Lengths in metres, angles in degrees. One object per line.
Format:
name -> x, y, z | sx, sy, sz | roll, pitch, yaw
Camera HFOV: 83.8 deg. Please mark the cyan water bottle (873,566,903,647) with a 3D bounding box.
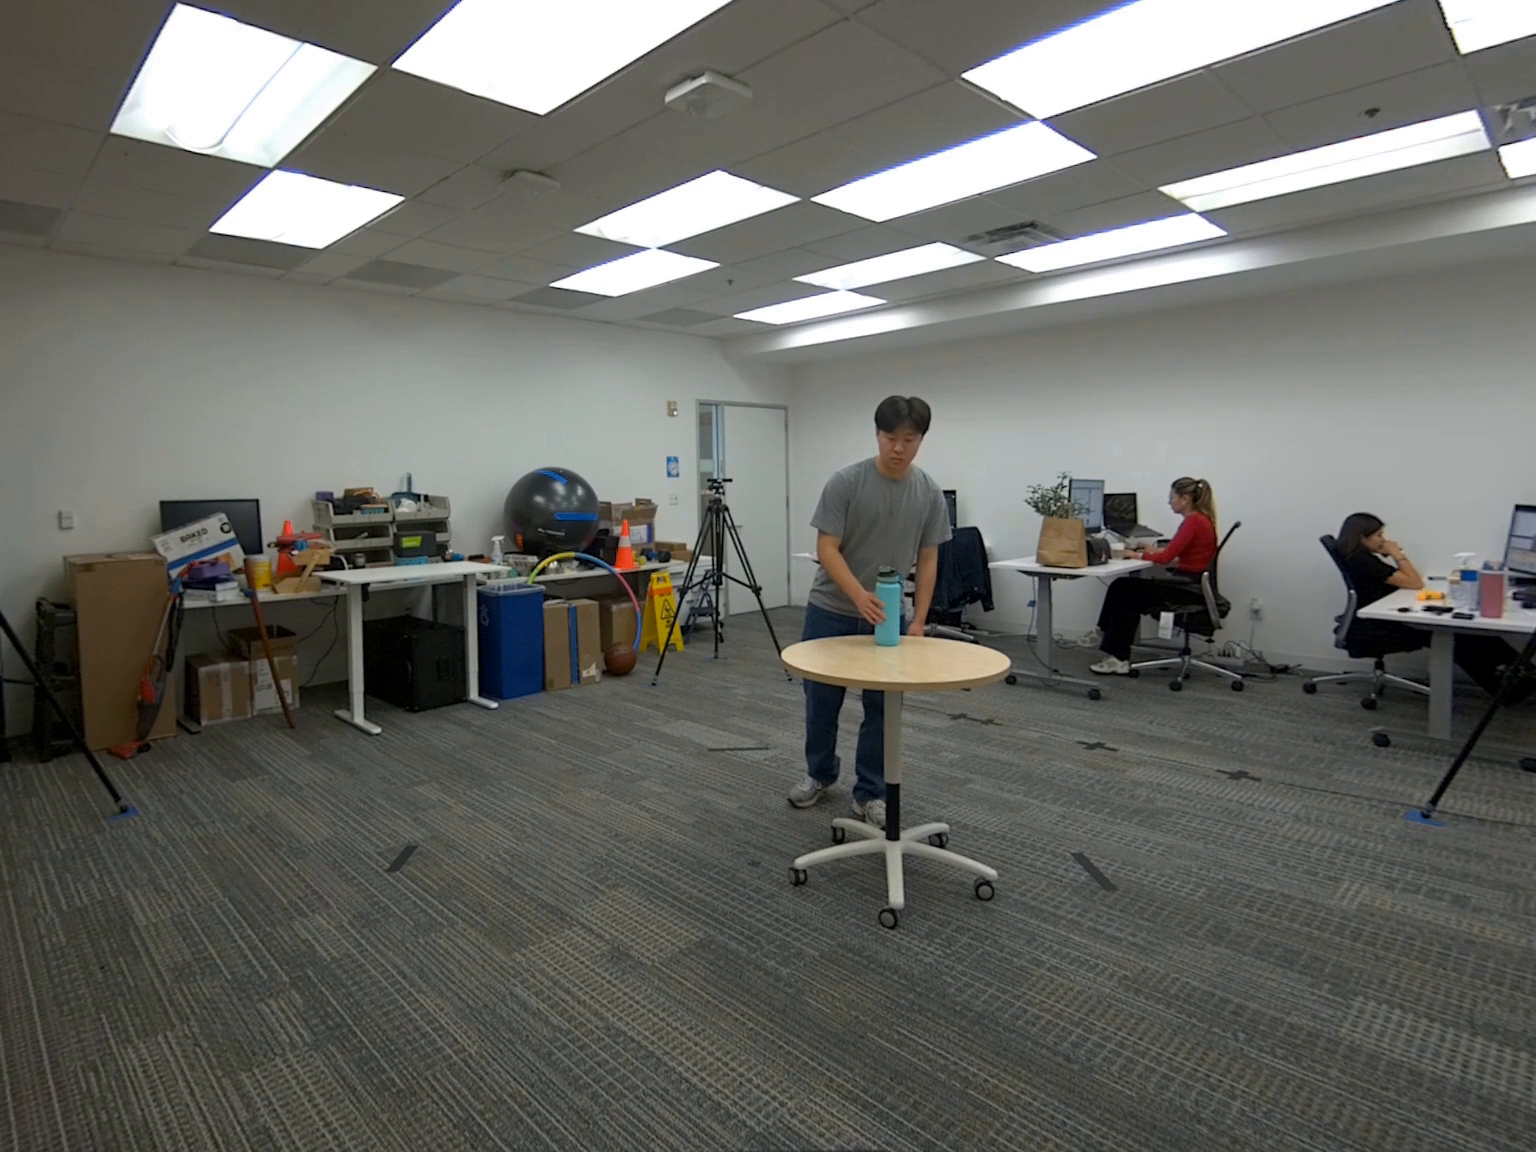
cyan water bottle -> 0.428, 0.099, 3.115 | 0.092, 0.281, 0.093 | 1, 8, -2
